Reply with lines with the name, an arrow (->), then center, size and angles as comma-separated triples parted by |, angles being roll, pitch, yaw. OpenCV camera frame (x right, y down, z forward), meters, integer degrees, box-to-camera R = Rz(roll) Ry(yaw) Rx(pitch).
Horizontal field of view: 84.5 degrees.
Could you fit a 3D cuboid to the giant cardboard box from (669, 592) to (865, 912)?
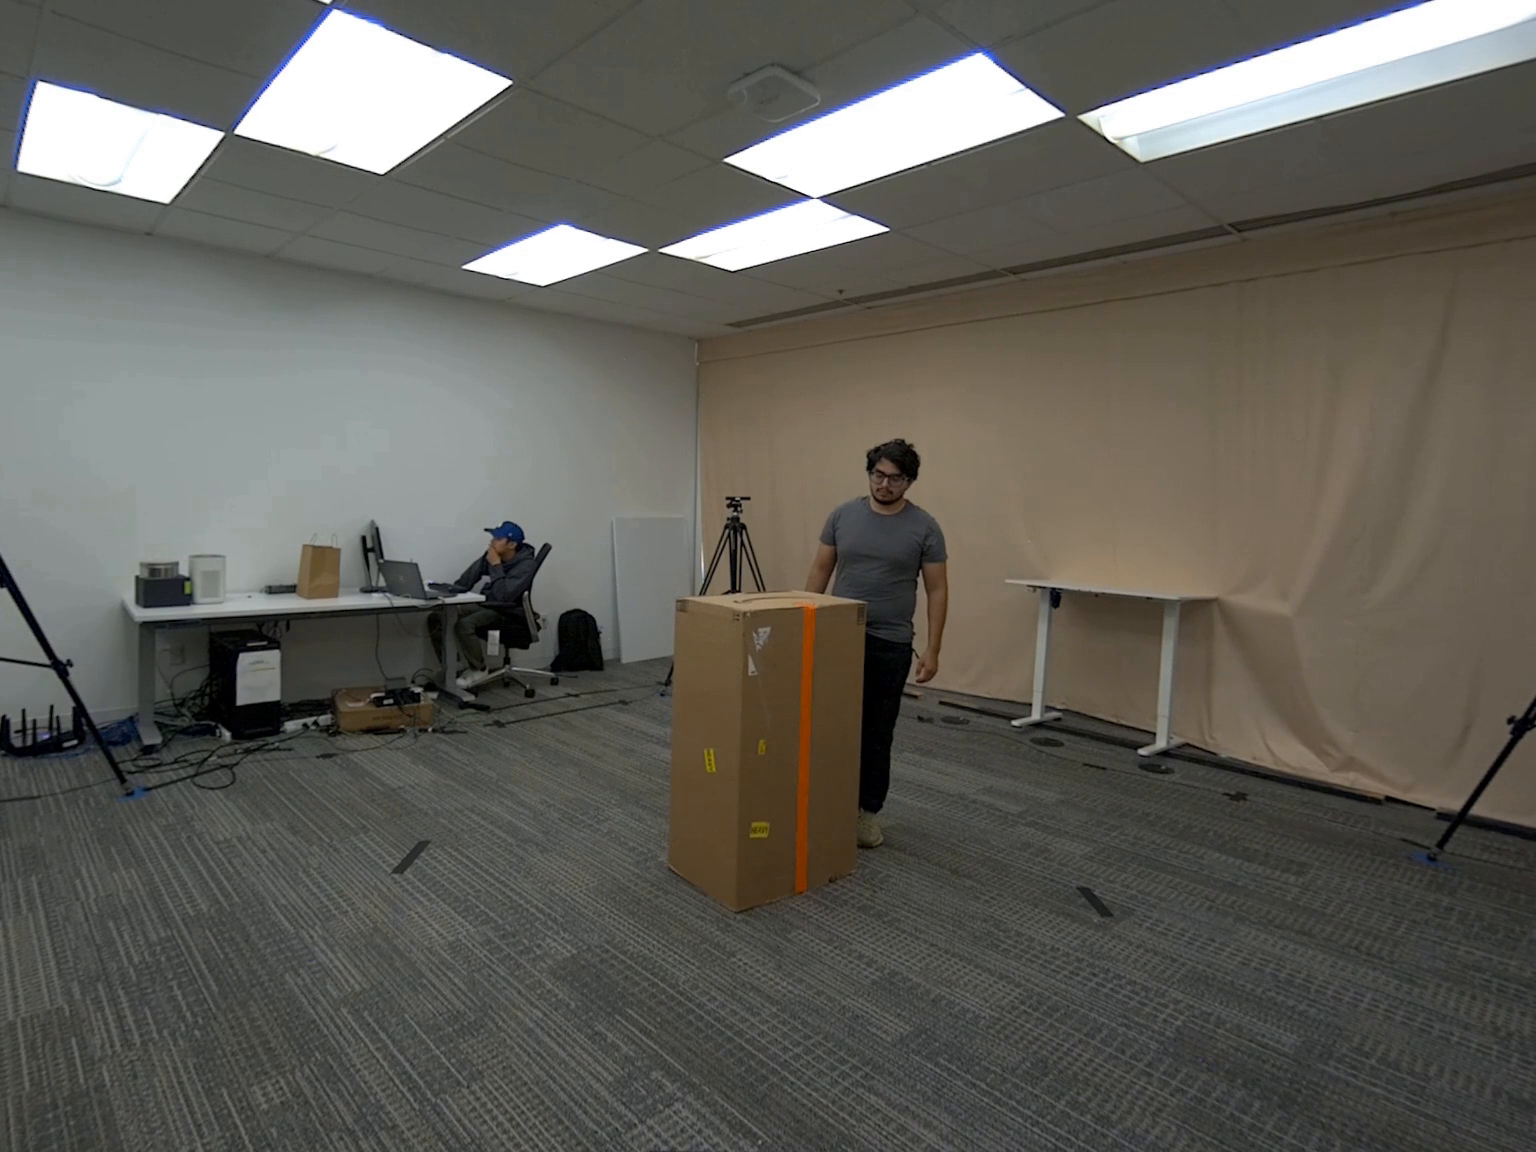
giant cardboard box -> -0.013, 0.600, 3.128 | 0.571, 1.025, 0.458 | -1, 4, -39
